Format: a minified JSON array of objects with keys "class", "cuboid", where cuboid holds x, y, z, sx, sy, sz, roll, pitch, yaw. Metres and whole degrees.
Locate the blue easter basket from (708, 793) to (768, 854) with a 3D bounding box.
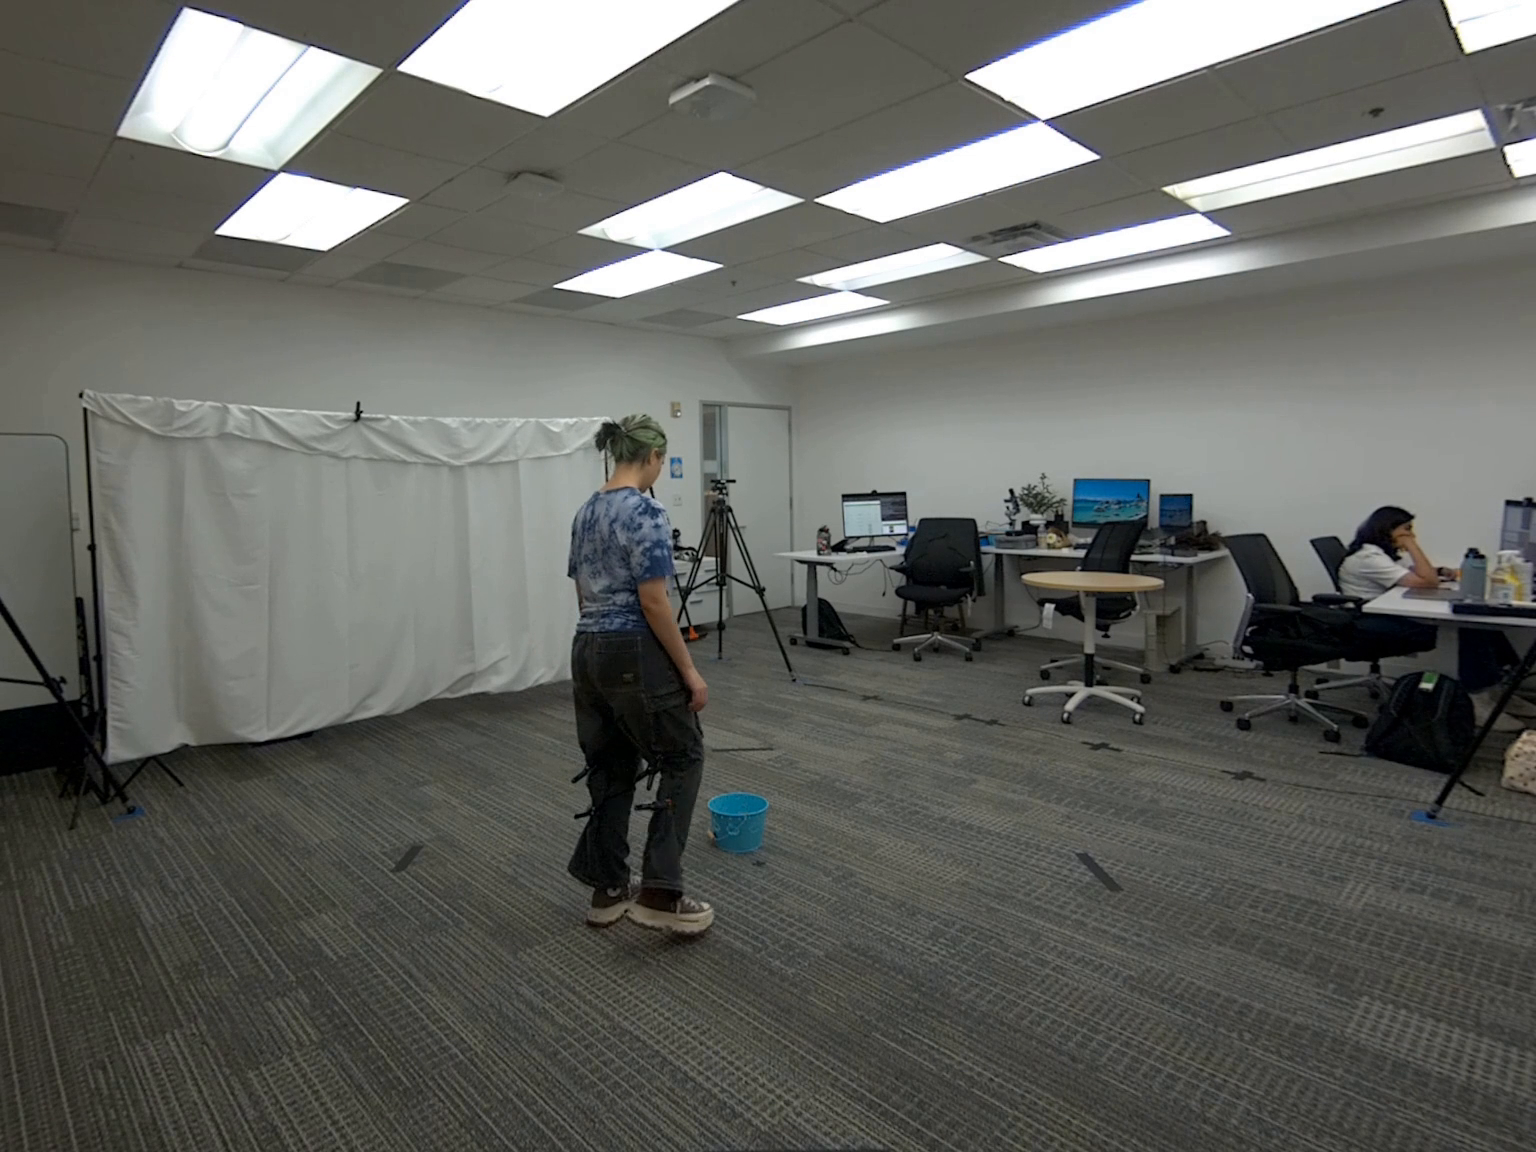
[{"class":"blue easter basket","cuboid":[-0.117,0.949,3.294,0.243,0.155,0.245,-1,5,-2]}]
